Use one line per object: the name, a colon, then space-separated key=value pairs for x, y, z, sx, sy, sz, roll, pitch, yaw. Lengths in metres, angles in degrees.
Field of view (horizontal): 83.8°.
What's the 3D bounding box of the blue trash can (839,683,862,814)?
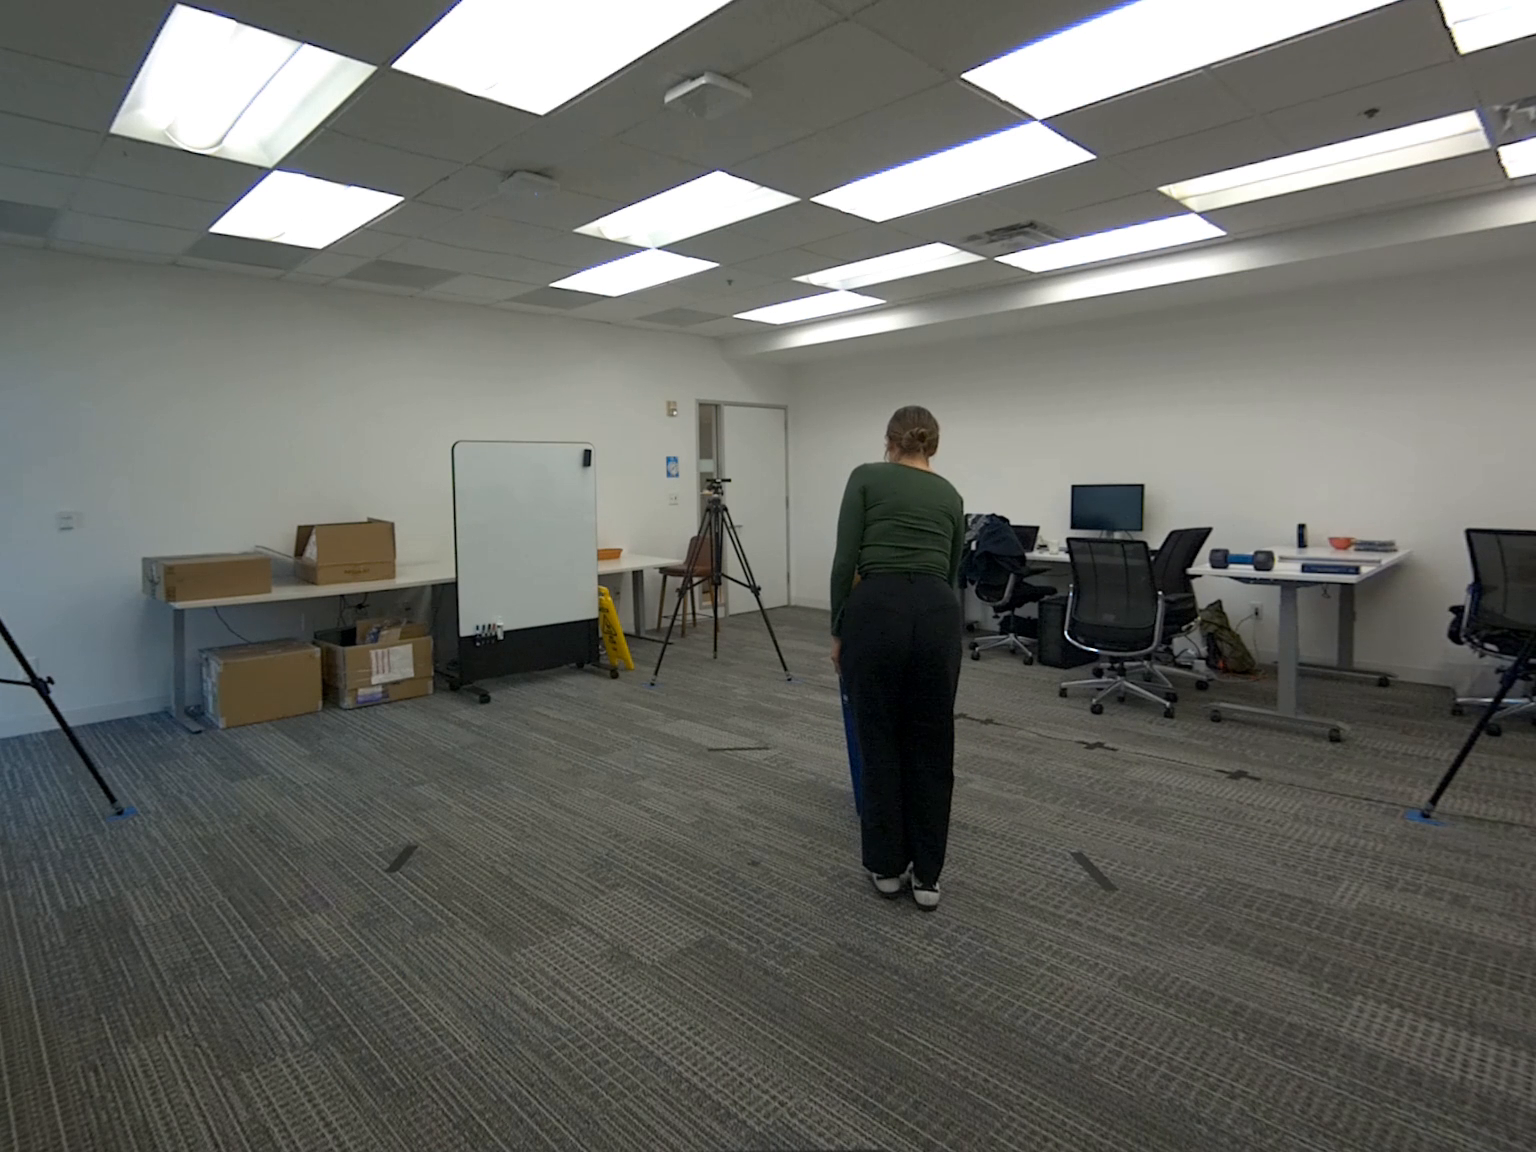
blue trash can: x=0.517 y=0.607 z=3.482 sx=0.386 sy=0.699 sz=0.374 roll=2 pitch=23 yaw=21
